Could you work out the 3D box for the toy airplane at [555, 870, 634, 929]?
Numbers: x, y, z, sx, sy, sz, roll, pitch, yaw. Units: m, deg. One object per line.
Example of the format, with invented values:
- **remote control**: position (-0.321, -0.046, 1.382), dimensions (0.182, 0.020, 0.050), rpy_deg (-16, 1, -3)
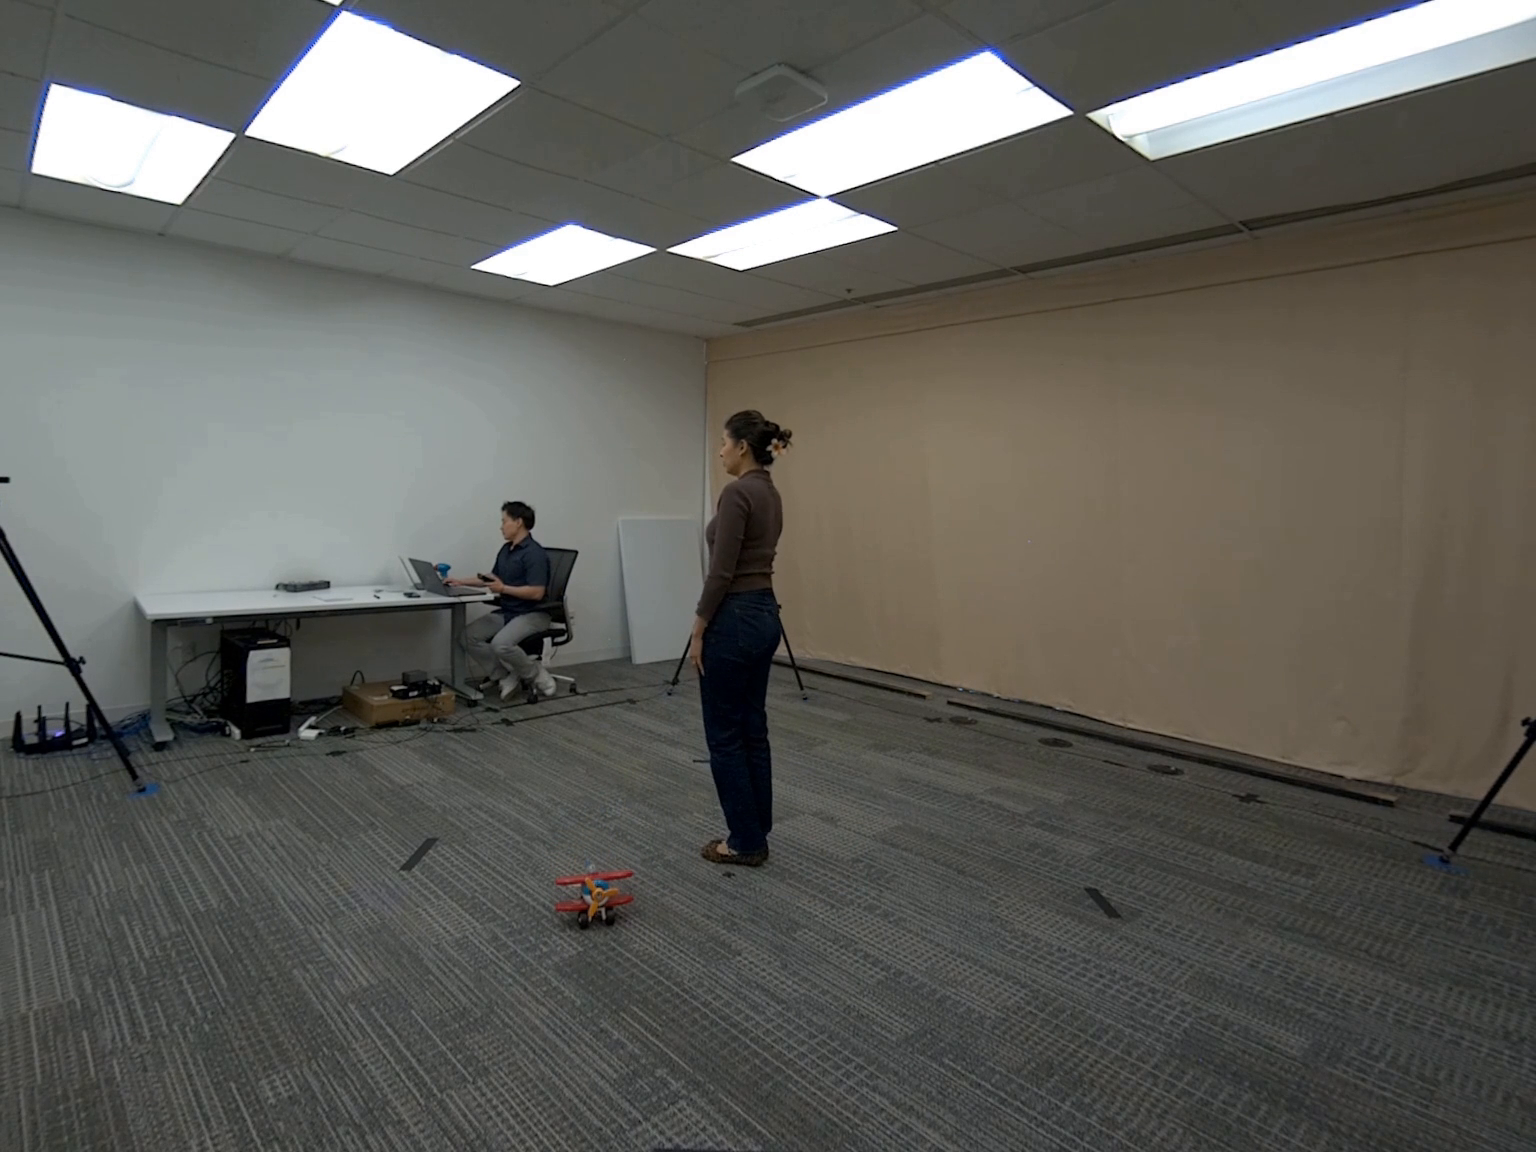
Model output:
- **toy airplane**: position (-0.602, 1.049, 2.781), dimensions (0.266, 0.156, 0.245), rpy_deg (8, 8, 43)
